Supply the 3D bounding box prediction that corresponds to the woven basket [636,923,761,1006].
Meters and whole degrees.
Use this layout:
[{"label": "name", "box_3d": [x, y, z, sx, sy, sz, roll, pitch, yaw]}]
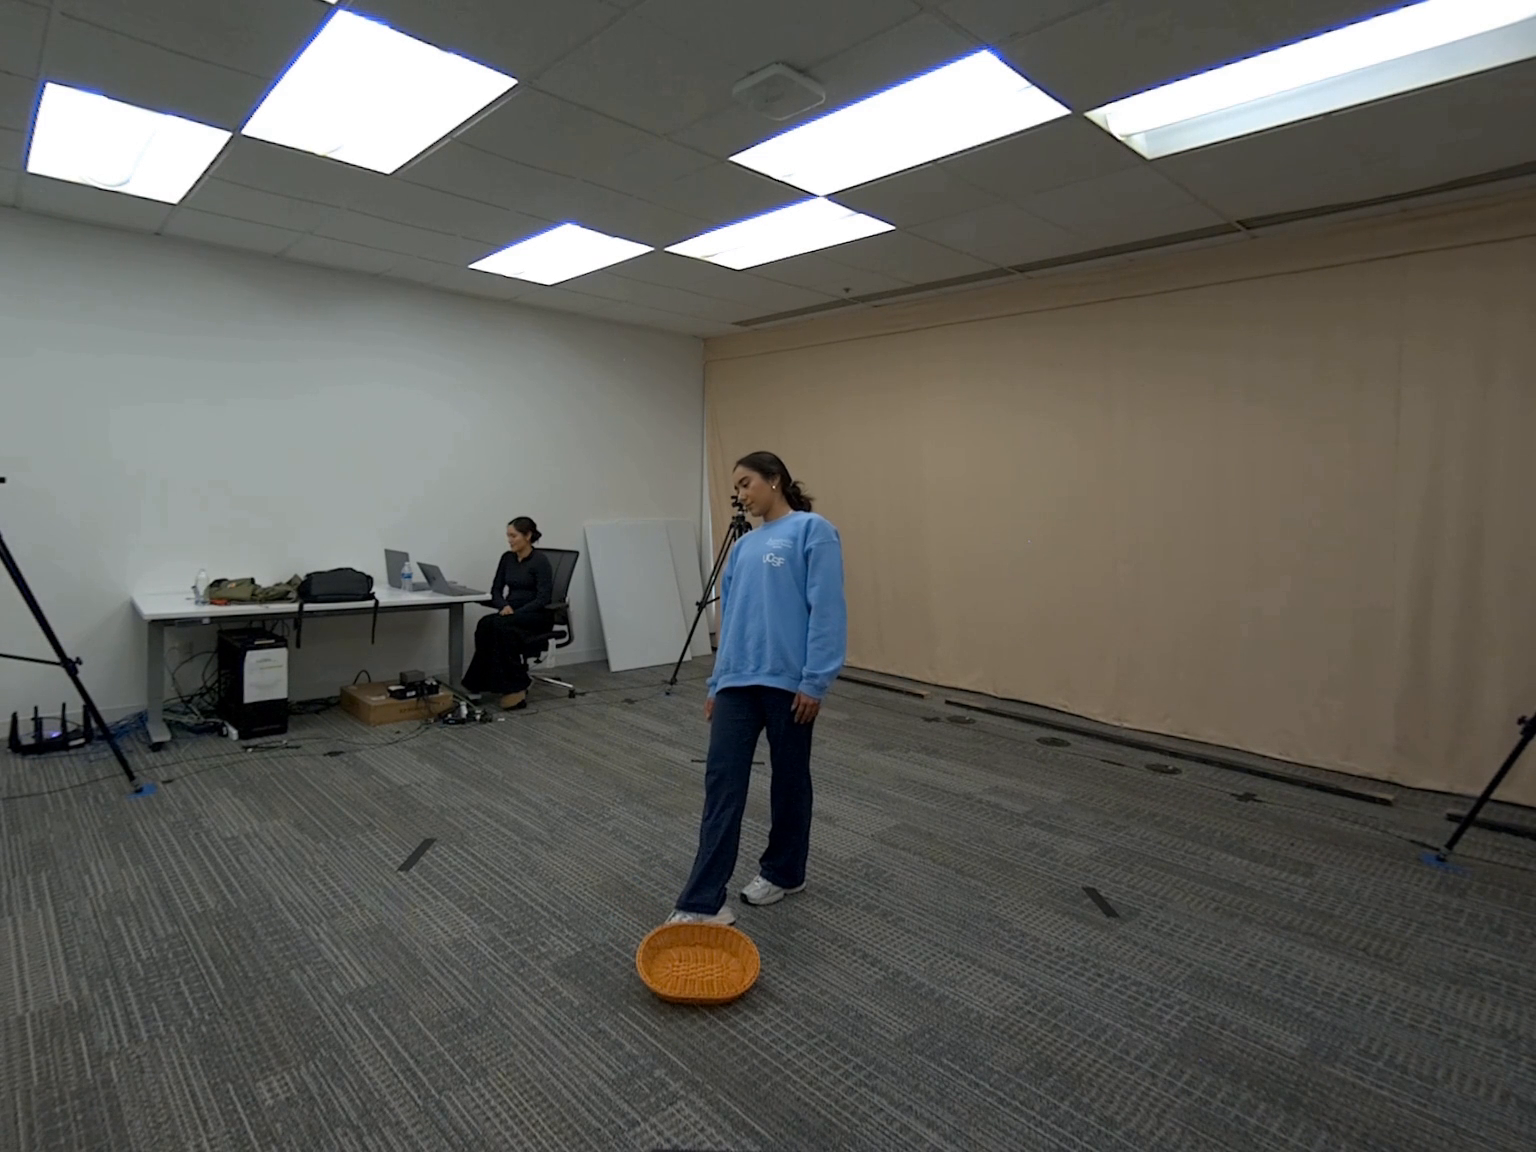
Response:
[{"label": "woven basket", "box_3d": [-0.203, 1.107, 2.370, 0.350, 0.072, 0.256, 2, 24, -1]}]
